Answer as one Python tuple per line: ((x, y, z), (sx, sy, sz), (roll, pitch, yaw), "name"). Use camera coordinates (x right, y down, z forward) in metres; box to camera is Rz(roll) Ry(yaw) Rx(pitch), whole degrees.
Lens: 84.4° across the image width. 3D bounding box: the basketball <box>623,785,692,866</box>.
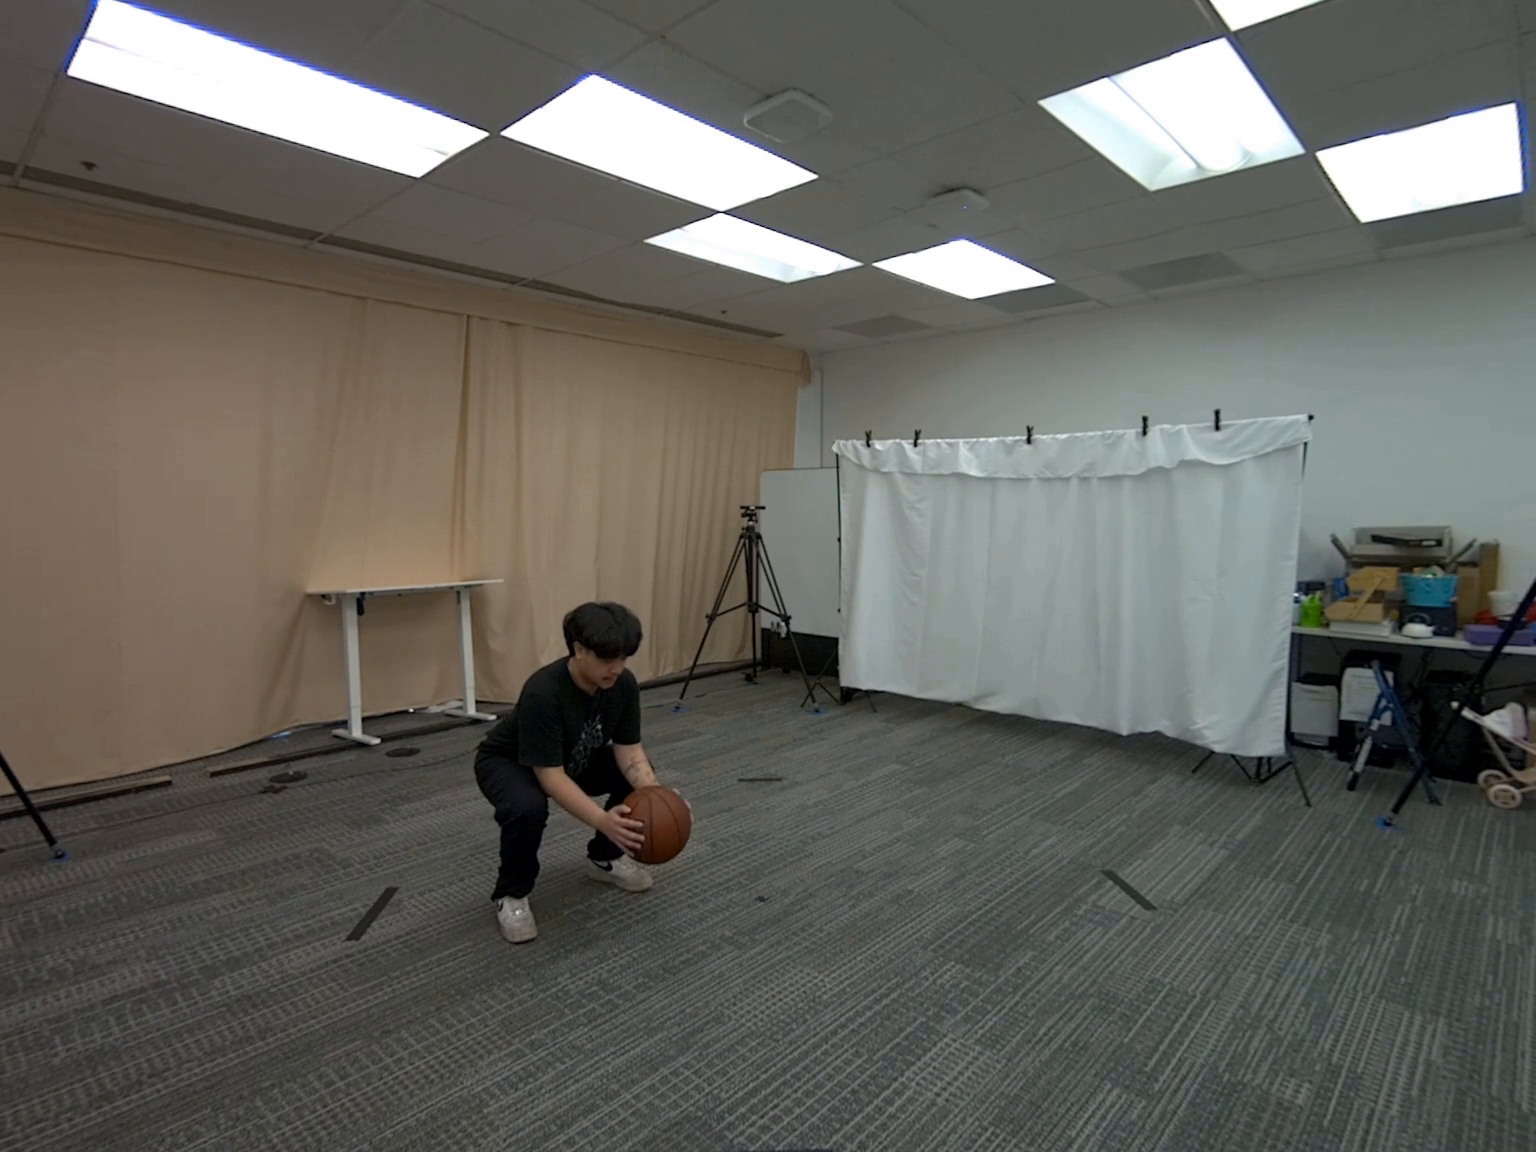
((-0.362, 0.785, 2.635), (0.236, 0.235, 0.237), (0, 4, -2), "basketball")
